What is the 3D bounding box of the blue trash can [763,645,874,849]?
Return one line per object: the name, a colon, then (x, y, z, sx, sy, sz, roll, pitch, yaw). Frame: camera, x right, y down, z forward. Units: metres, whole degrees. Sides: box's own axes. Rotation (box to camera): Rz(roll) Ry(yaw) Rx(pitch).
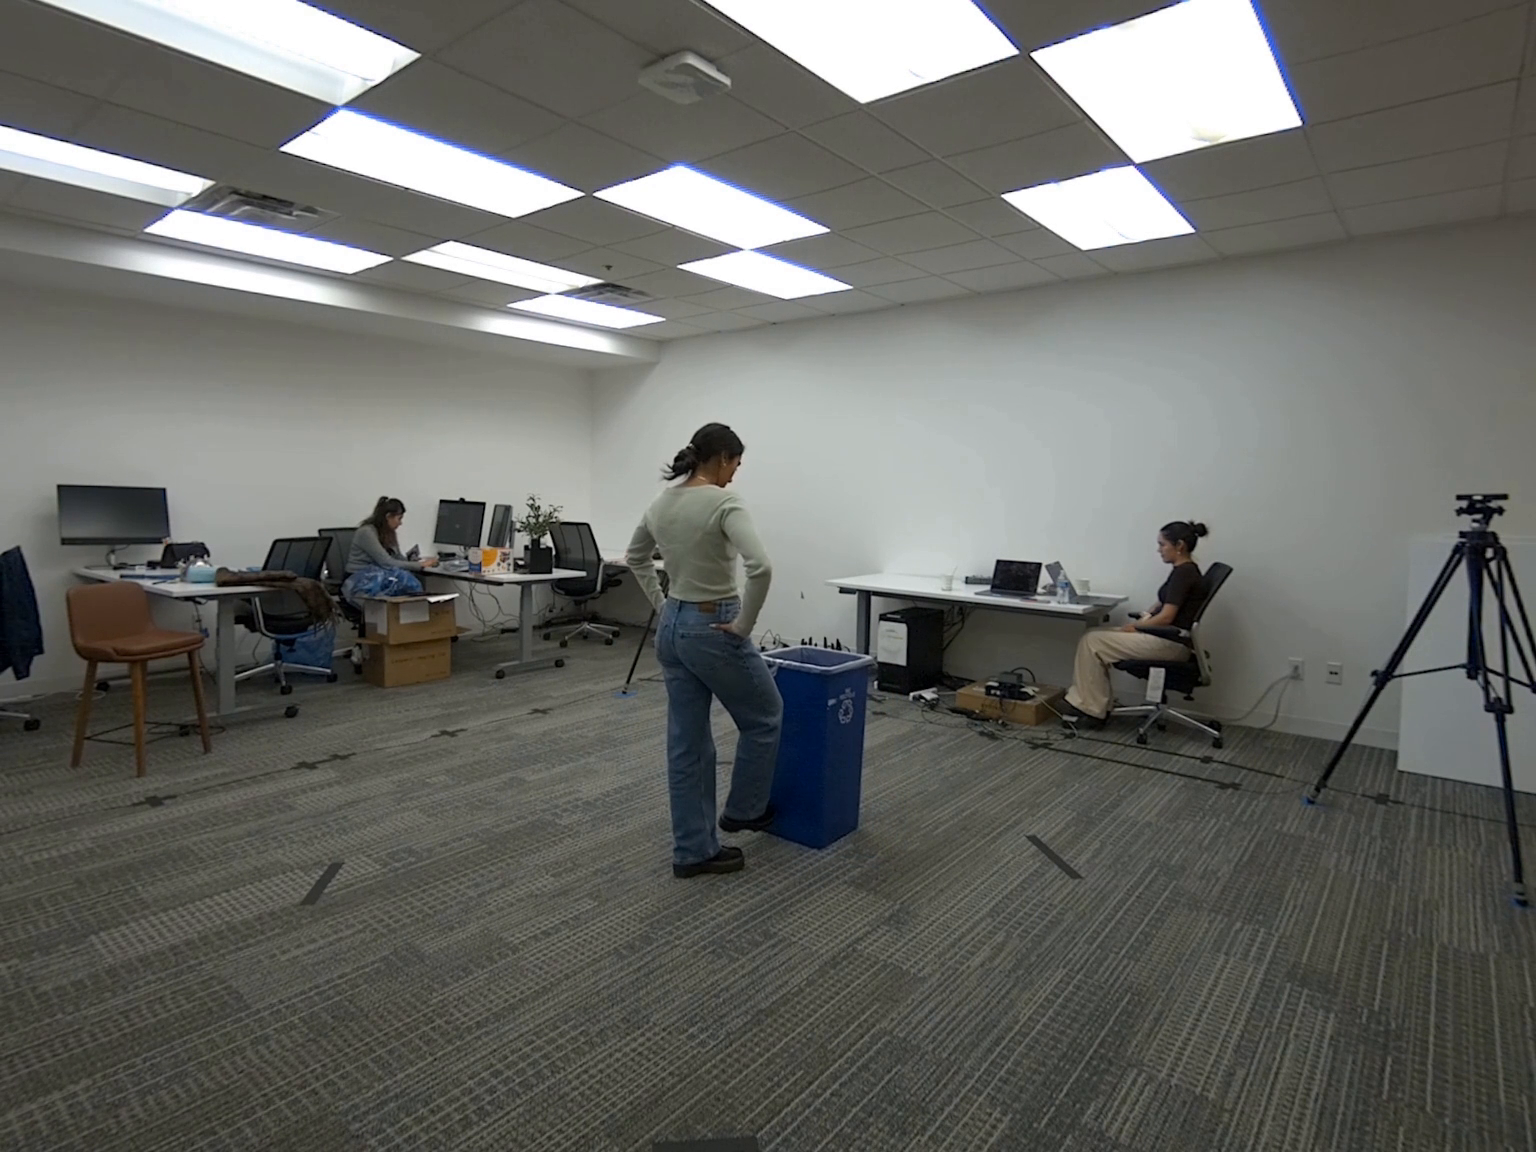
blue trash can: (0.182, 0.676, 3.475, 0.386, 0.712, 0.367, 3, 3, 37)
